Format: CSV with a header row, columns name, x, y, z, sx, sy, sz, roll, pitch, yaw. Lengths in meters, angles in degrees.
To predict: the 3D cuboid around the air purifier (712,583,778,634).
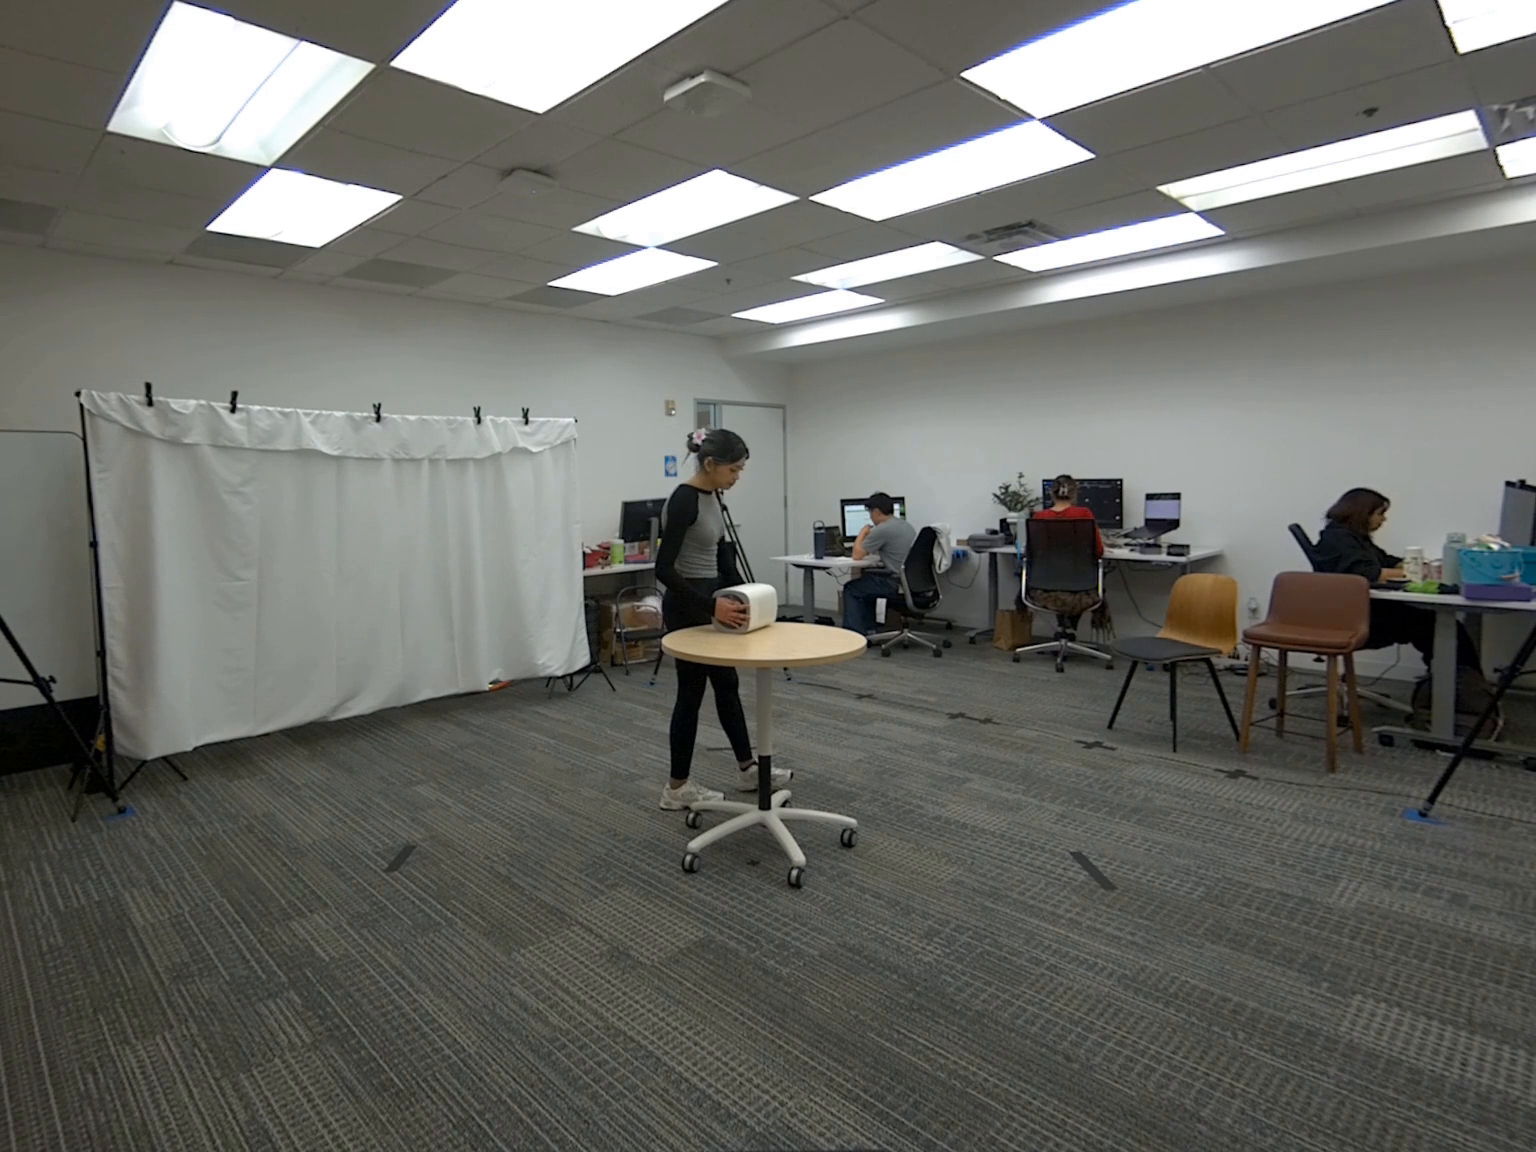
name,x,y,z,sx,sy,sz,roll,pitch,yaw
air purifier,-0.088,0.124,3.435,0.175,0.171,0.260,0,5,25
